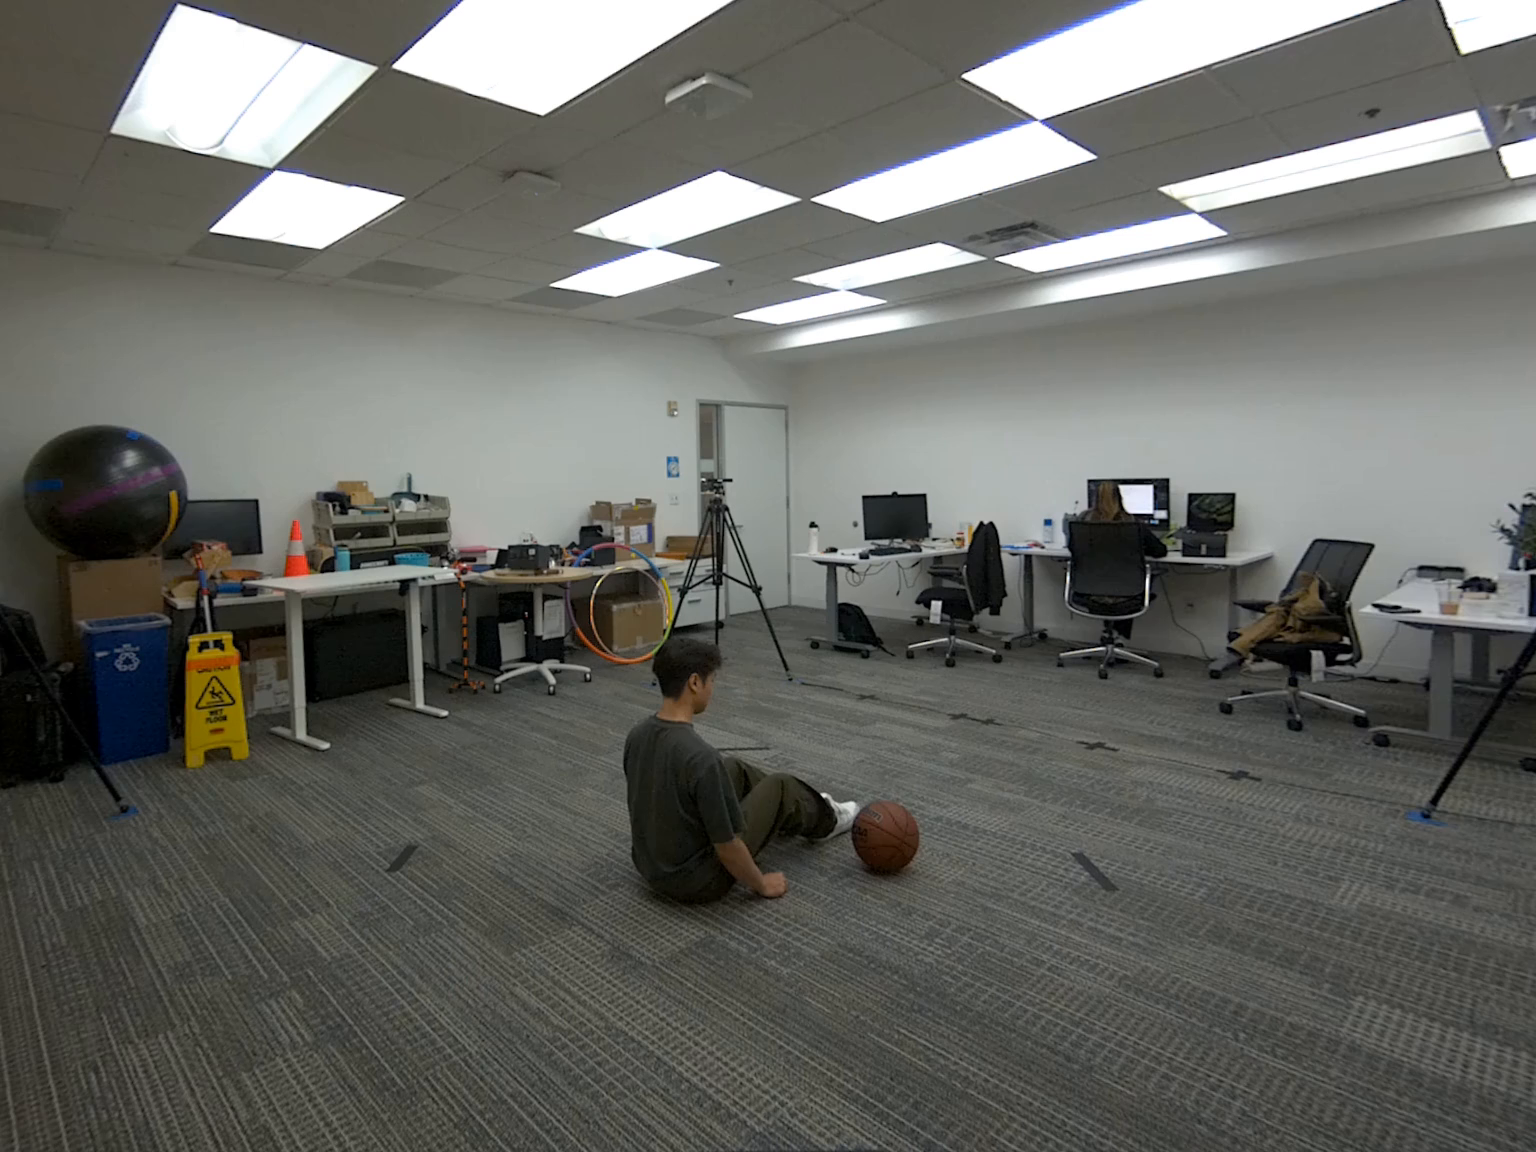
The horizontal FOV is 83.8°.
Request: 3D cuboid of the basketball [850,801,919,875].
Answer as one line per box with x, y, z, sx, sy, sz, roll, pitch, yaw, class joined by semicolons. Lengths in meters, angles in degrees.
0.416;0.920;3.040;0.236;0.235;0.237;-1;5;-2;basketball
